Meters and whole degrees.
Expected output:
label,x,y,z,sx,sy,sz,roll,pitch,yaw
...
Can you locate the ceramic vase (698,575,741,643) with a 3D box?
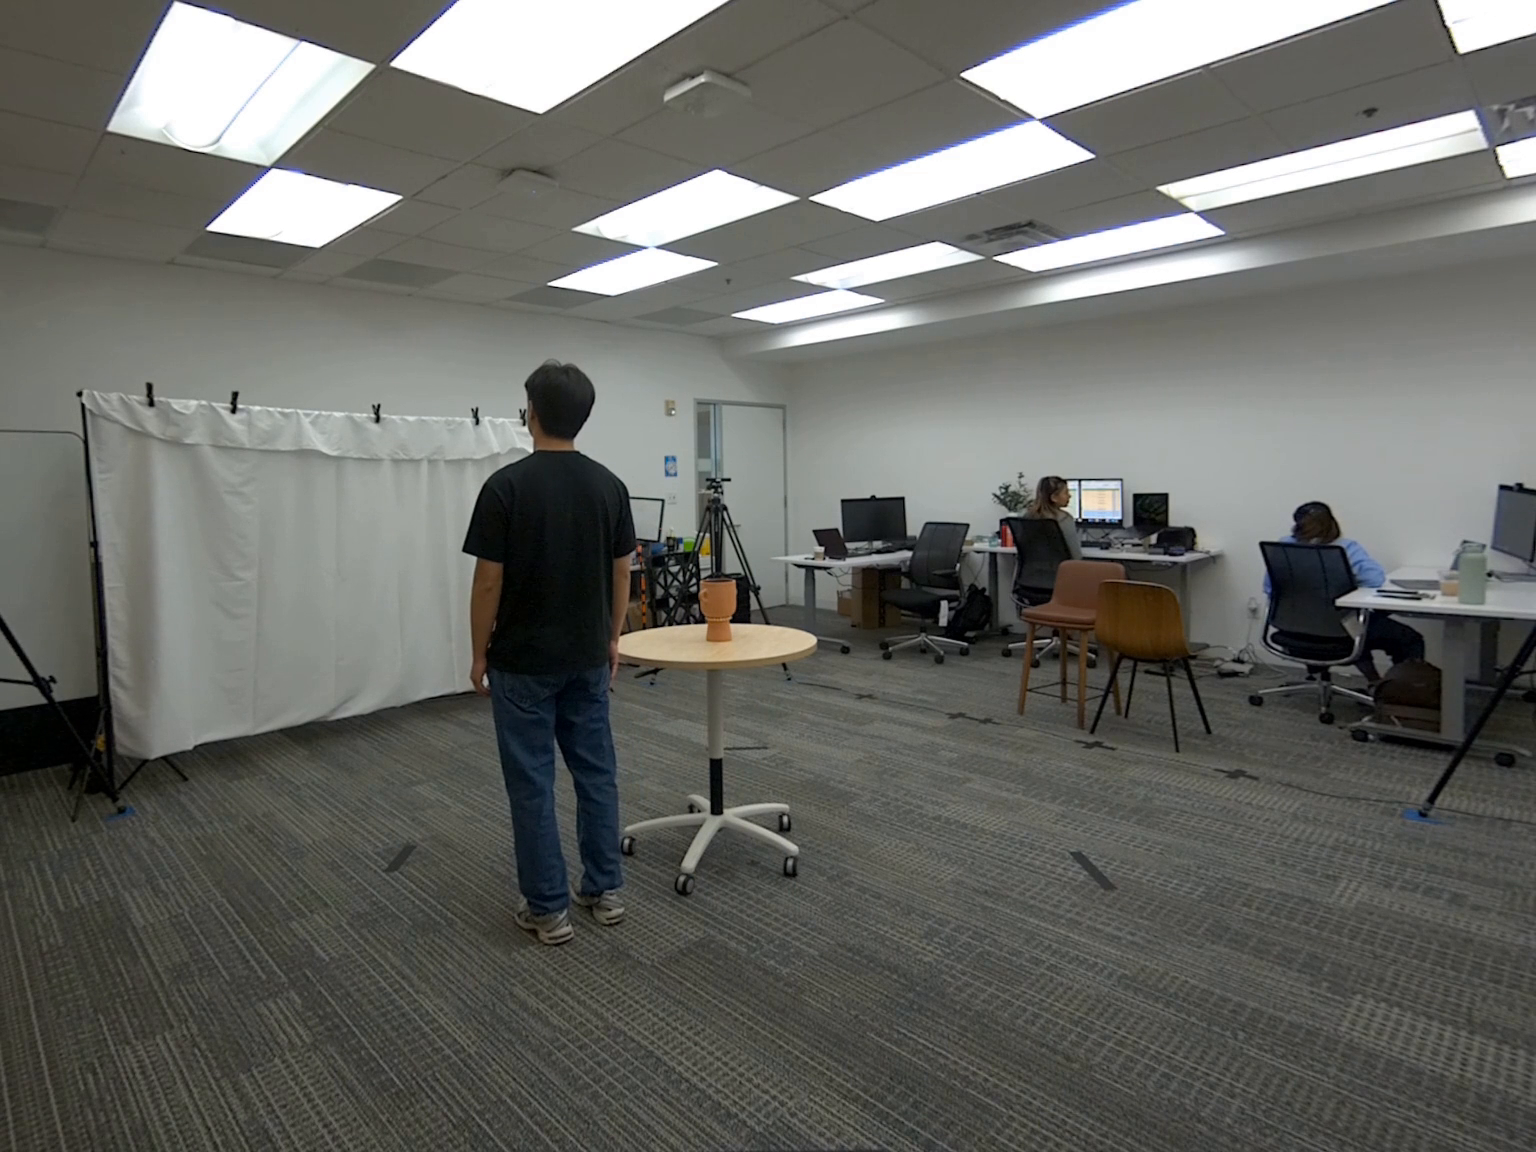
label,x,y,z,sx,sy,sz,roll,pitch,yaw
ceramic vase,-0.181,0.129,3.187,0.157,0.219,0.136,-3,4,-10
